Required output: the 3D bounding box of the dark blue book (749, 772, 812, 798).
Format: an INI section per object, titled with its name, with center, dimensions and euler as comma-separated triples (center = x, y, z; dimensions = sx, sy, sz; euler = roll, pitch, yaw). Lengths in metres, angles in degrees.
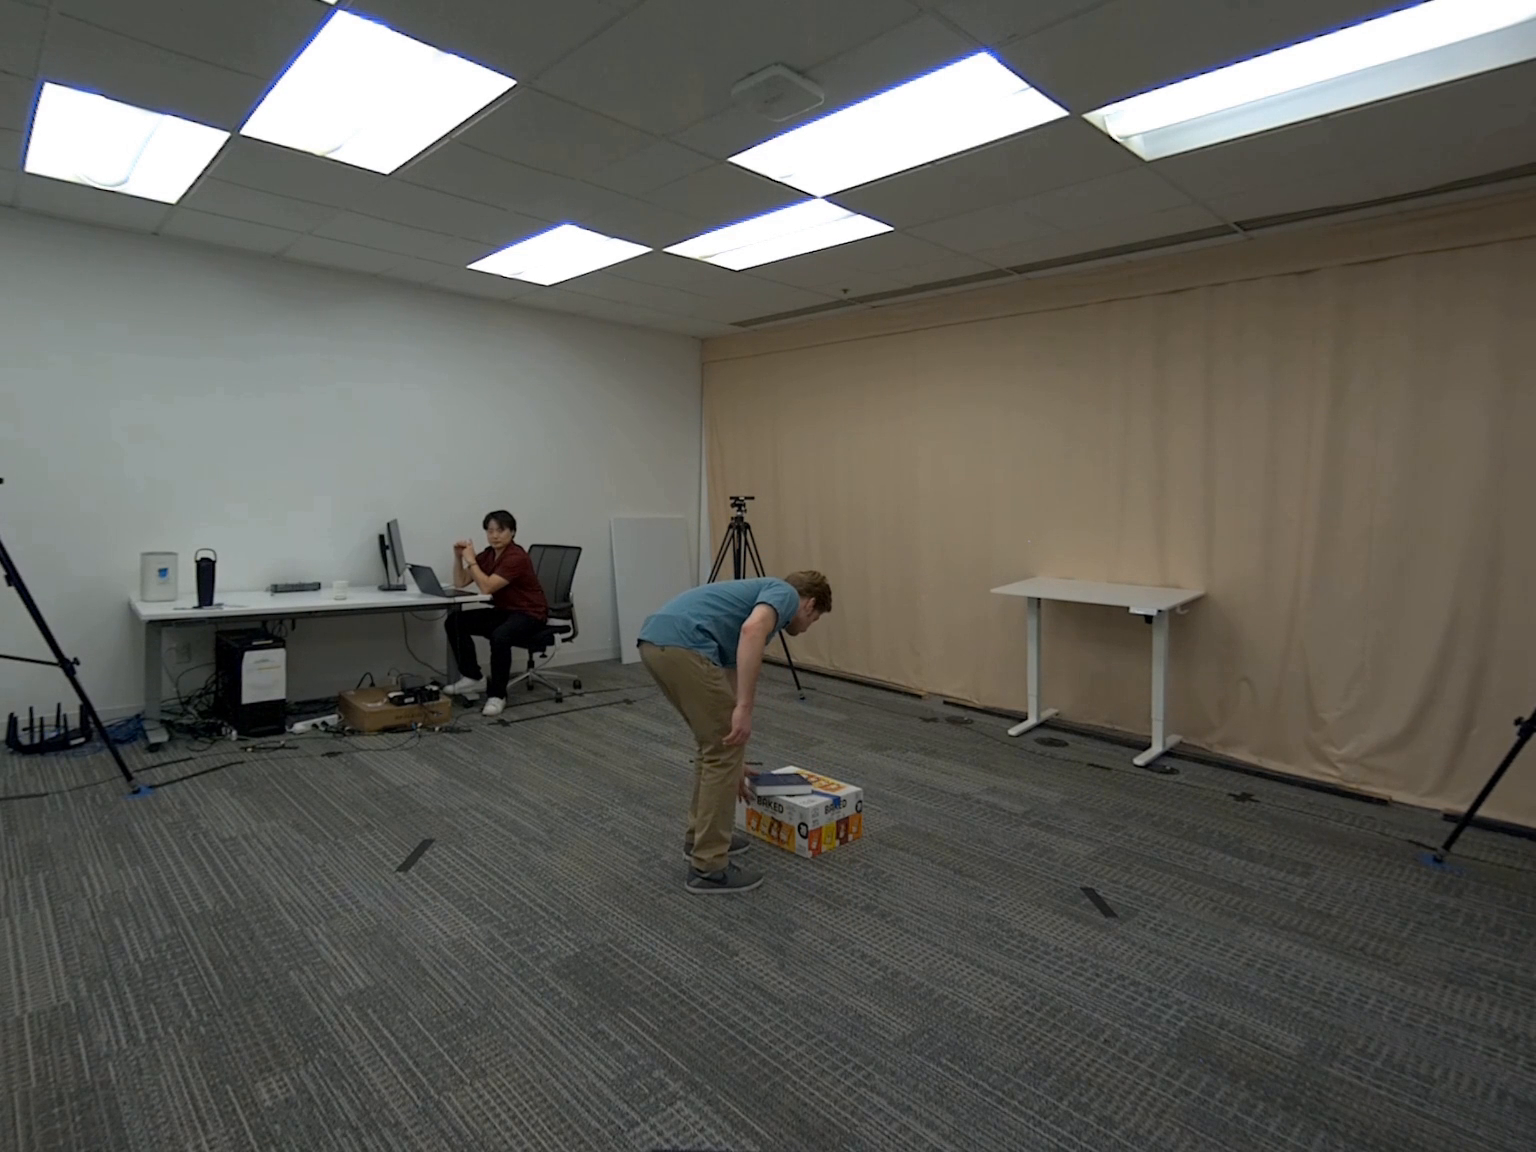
[dark blue book]
center = 0.037, 0.859, 3.472
dimensions = 0.241, 0.045, 0.166
euler = 3, 2, -19
